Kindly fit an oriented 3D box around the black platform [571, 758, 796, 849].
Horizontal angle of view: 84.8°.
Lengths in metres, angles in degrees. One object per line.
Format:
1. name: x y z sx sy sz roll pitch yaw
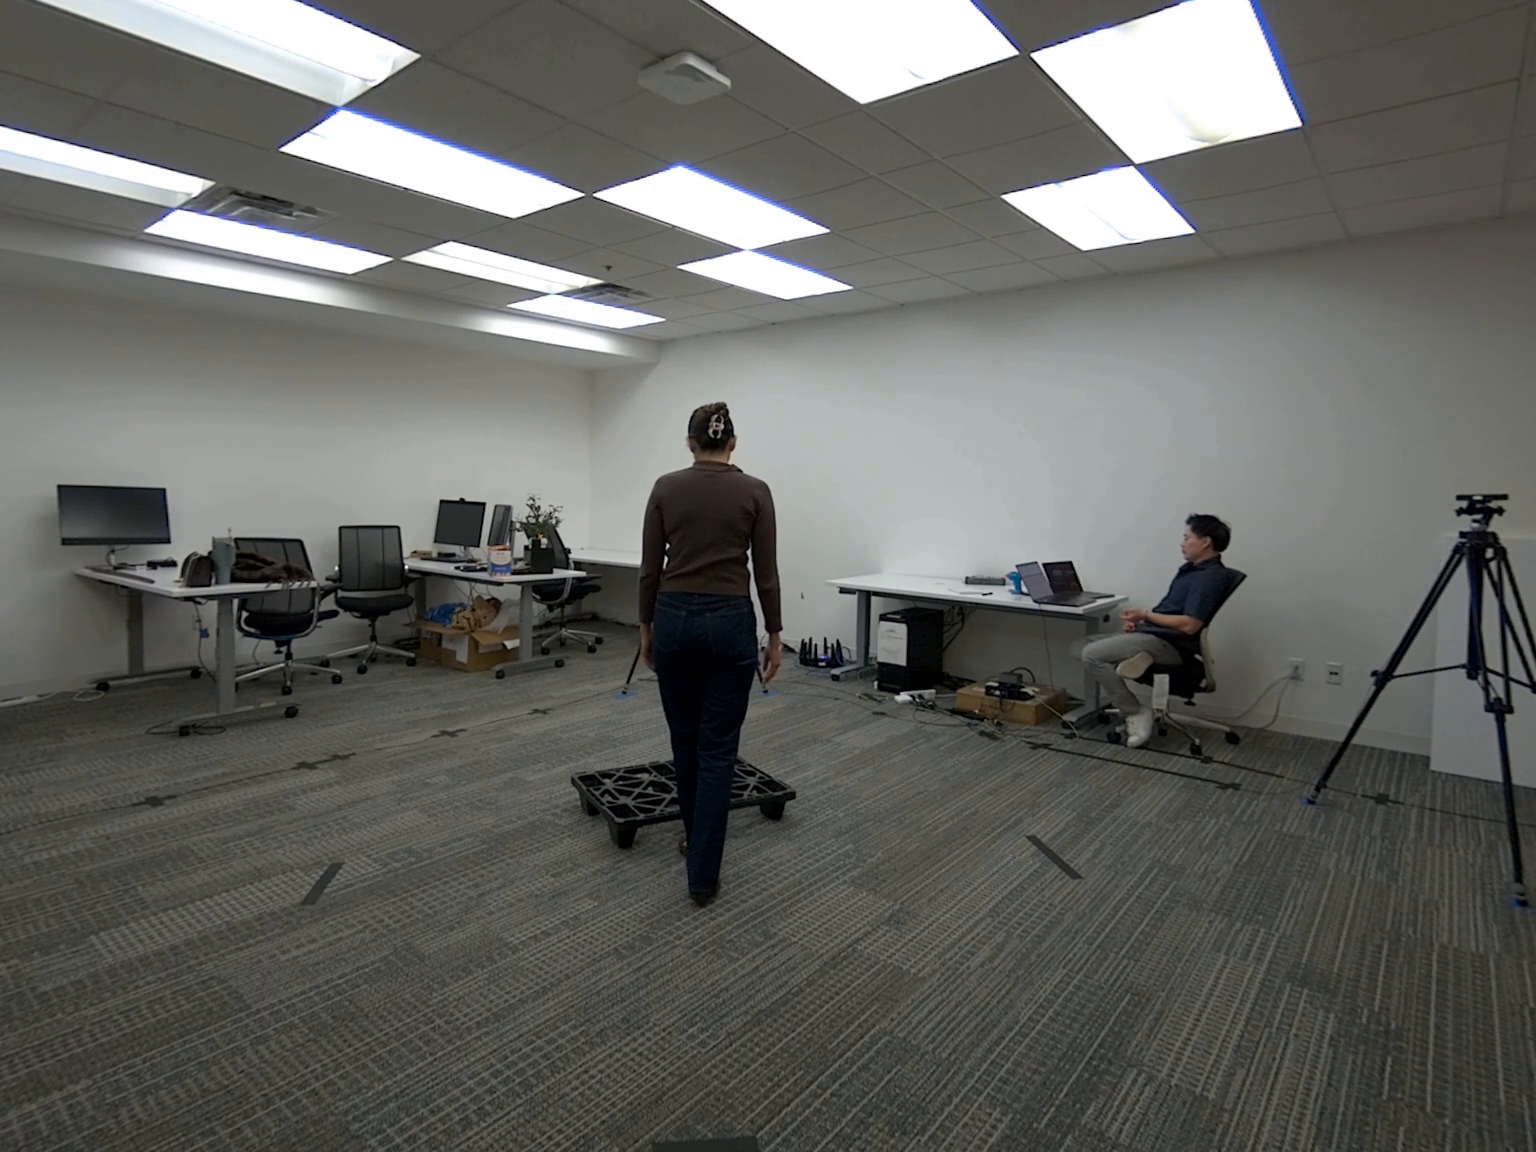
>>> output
1. black platform: -0.379 0.945 3.631 0.785 0.142 0.624 -3 7 -29
